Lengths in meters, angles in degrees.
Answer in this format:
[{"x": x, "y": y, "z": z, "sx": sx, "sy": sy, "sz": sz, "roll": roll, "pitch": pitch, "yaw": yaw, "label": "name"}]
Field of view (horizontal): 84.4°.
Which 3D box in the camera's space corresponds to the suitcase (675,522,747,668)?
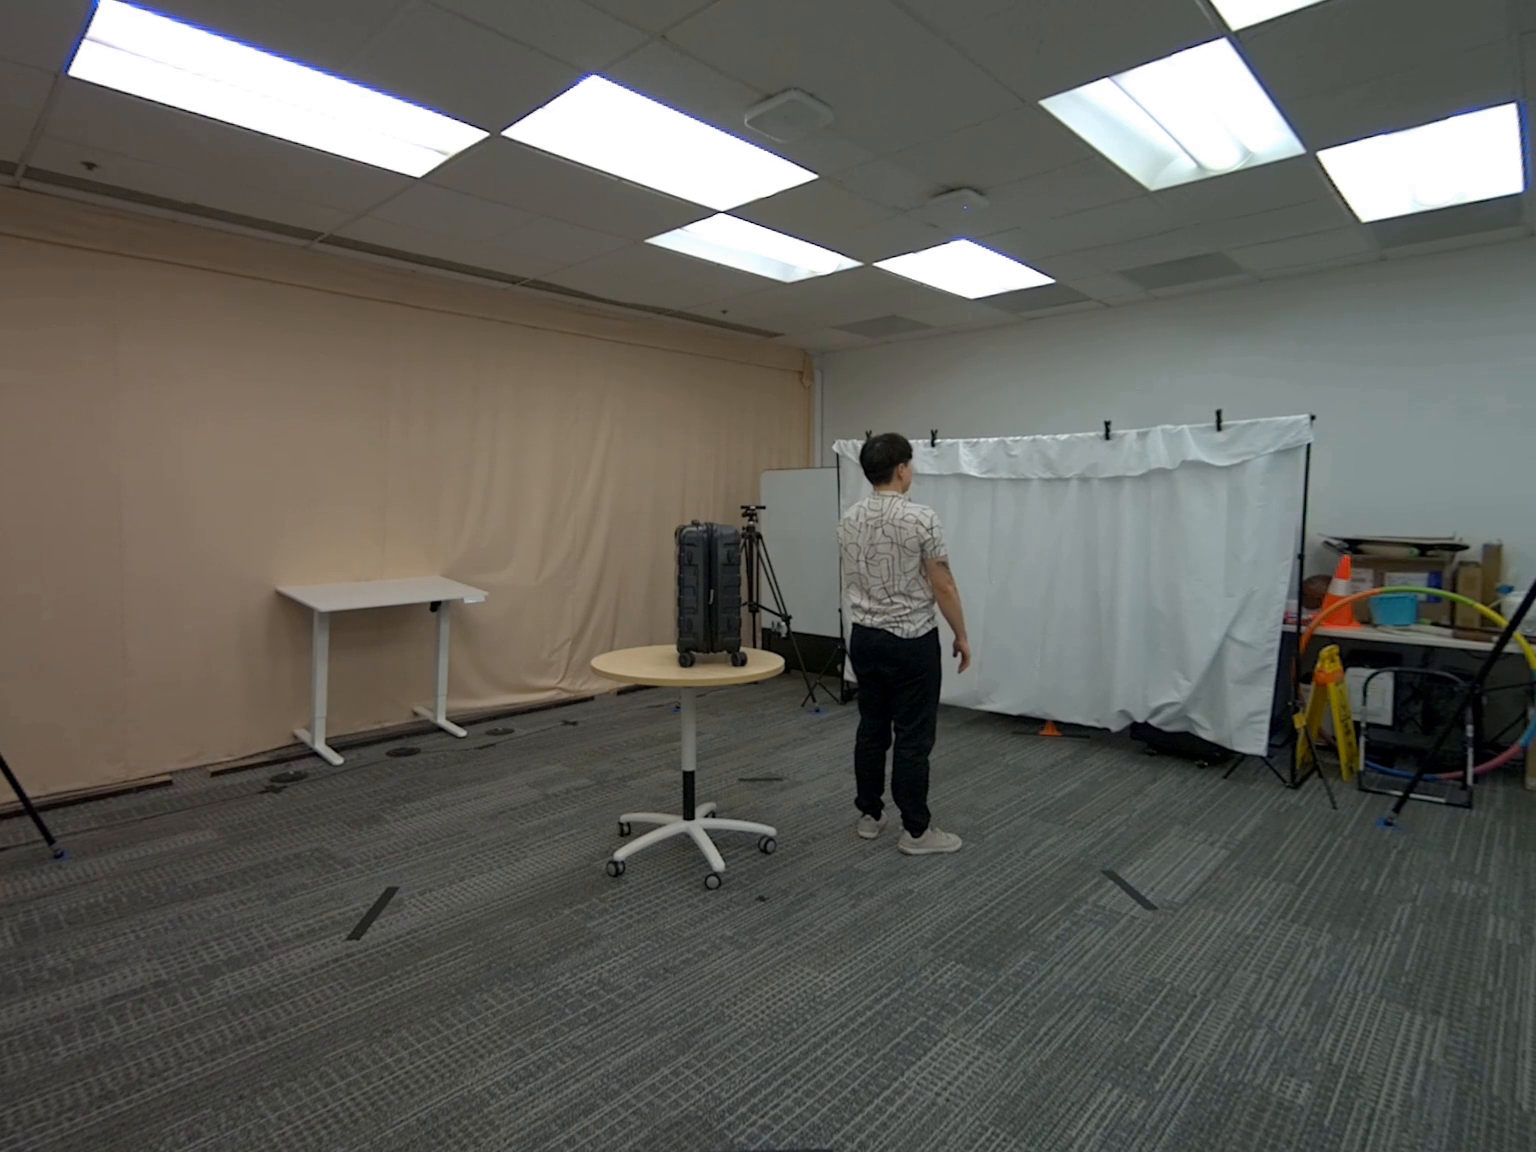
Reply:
[{"x": -0.232, "y": 0.056, "z": 3.357, "sx": 0.247, "sy": 0.549, "sz": 0.377, "roll": -1, "pitch": 2, "yaw": -5, "label": "suitcase"}]
